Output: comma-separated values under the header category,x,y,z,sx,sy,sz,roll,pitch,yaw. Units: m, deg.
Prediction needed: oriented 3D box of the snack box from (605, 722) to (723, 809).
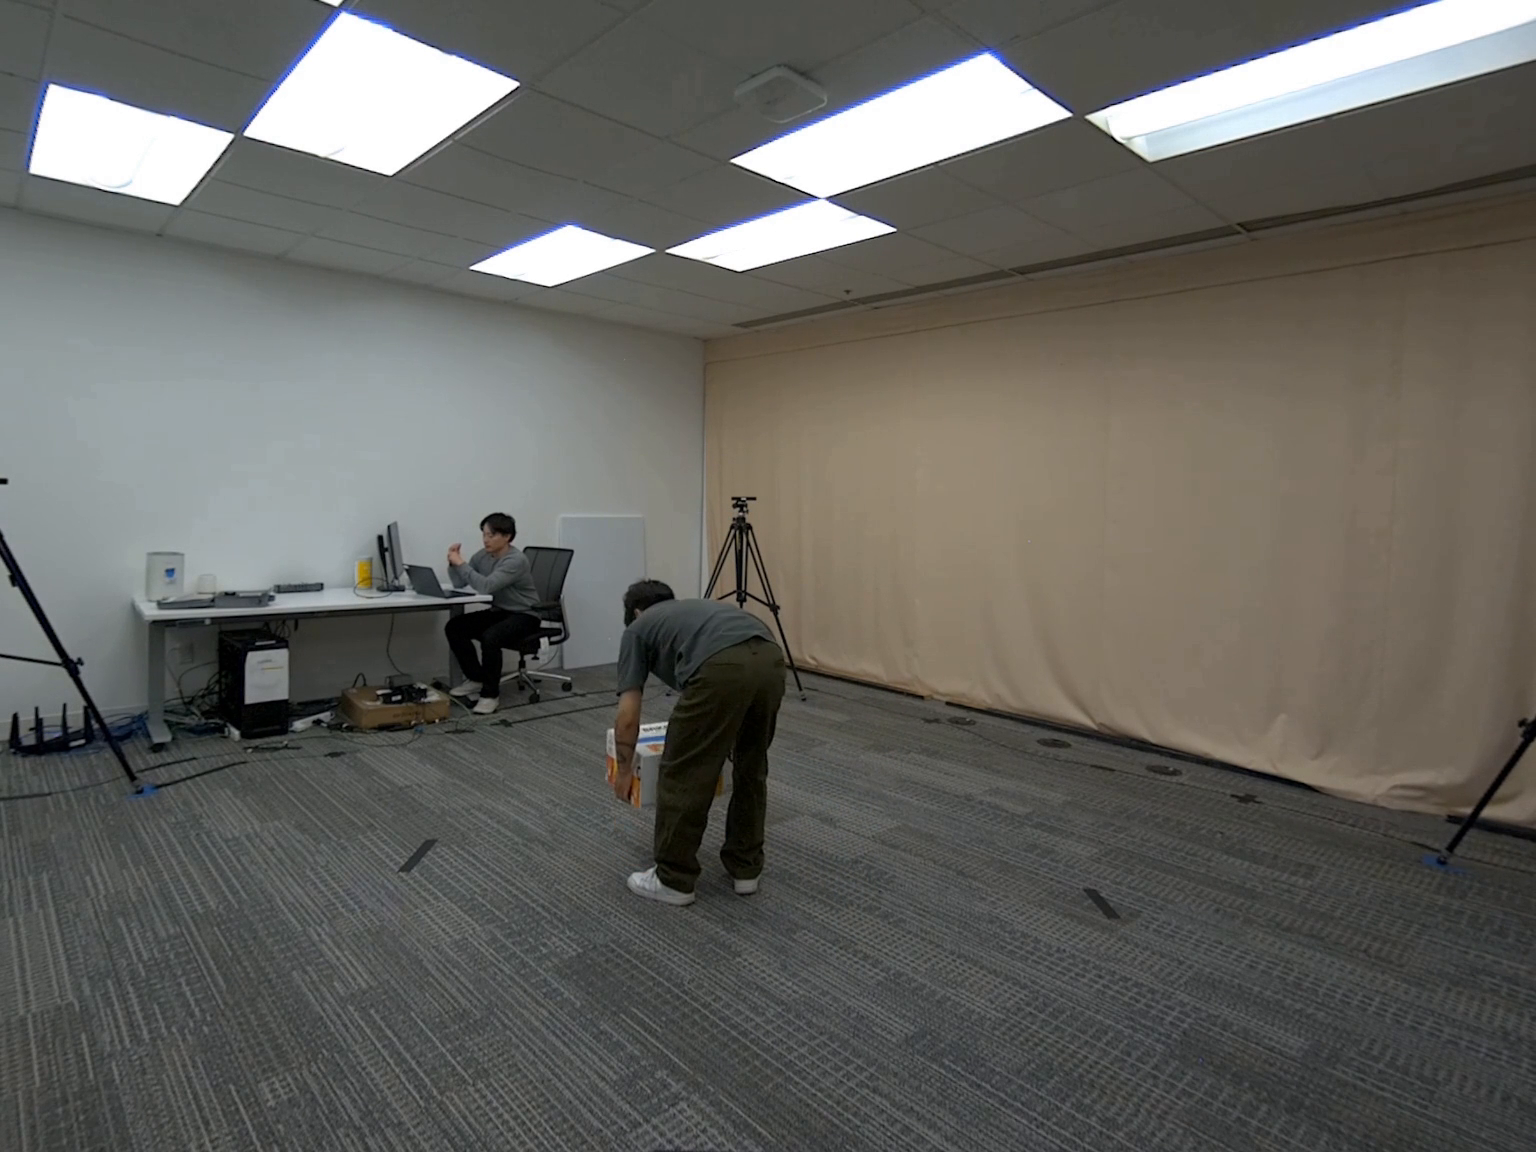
category,x,y,z,sx,sy,sz,roll,pitch,yaw
snack box,-0.375,0.712,3.251,0.397,0.205,0.349,-1,8,-31
